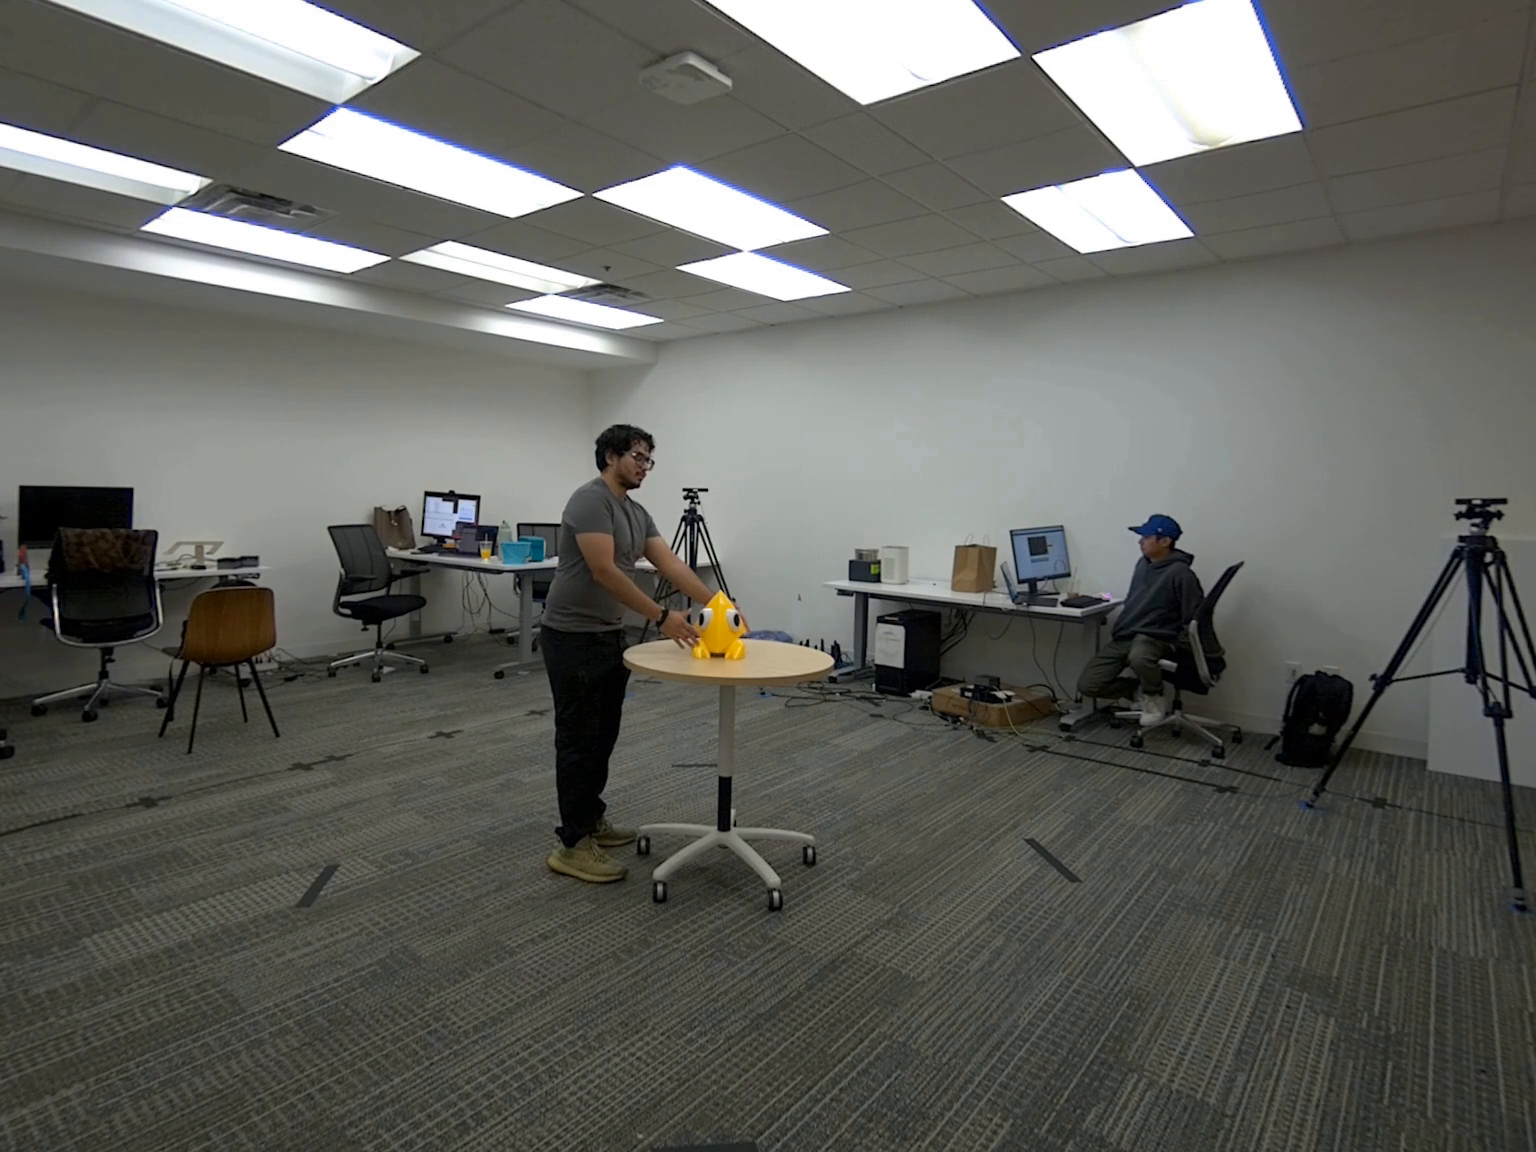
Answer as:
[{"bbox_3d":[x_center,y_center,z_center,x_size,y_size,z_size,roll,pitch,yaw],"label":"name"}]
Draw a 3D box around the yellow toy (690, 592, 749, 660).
[{"bbox_3d":[-0.183,0.171,3.109,0.205,0.230,0.193,2,2,1],"label":"yellow toy"}]
